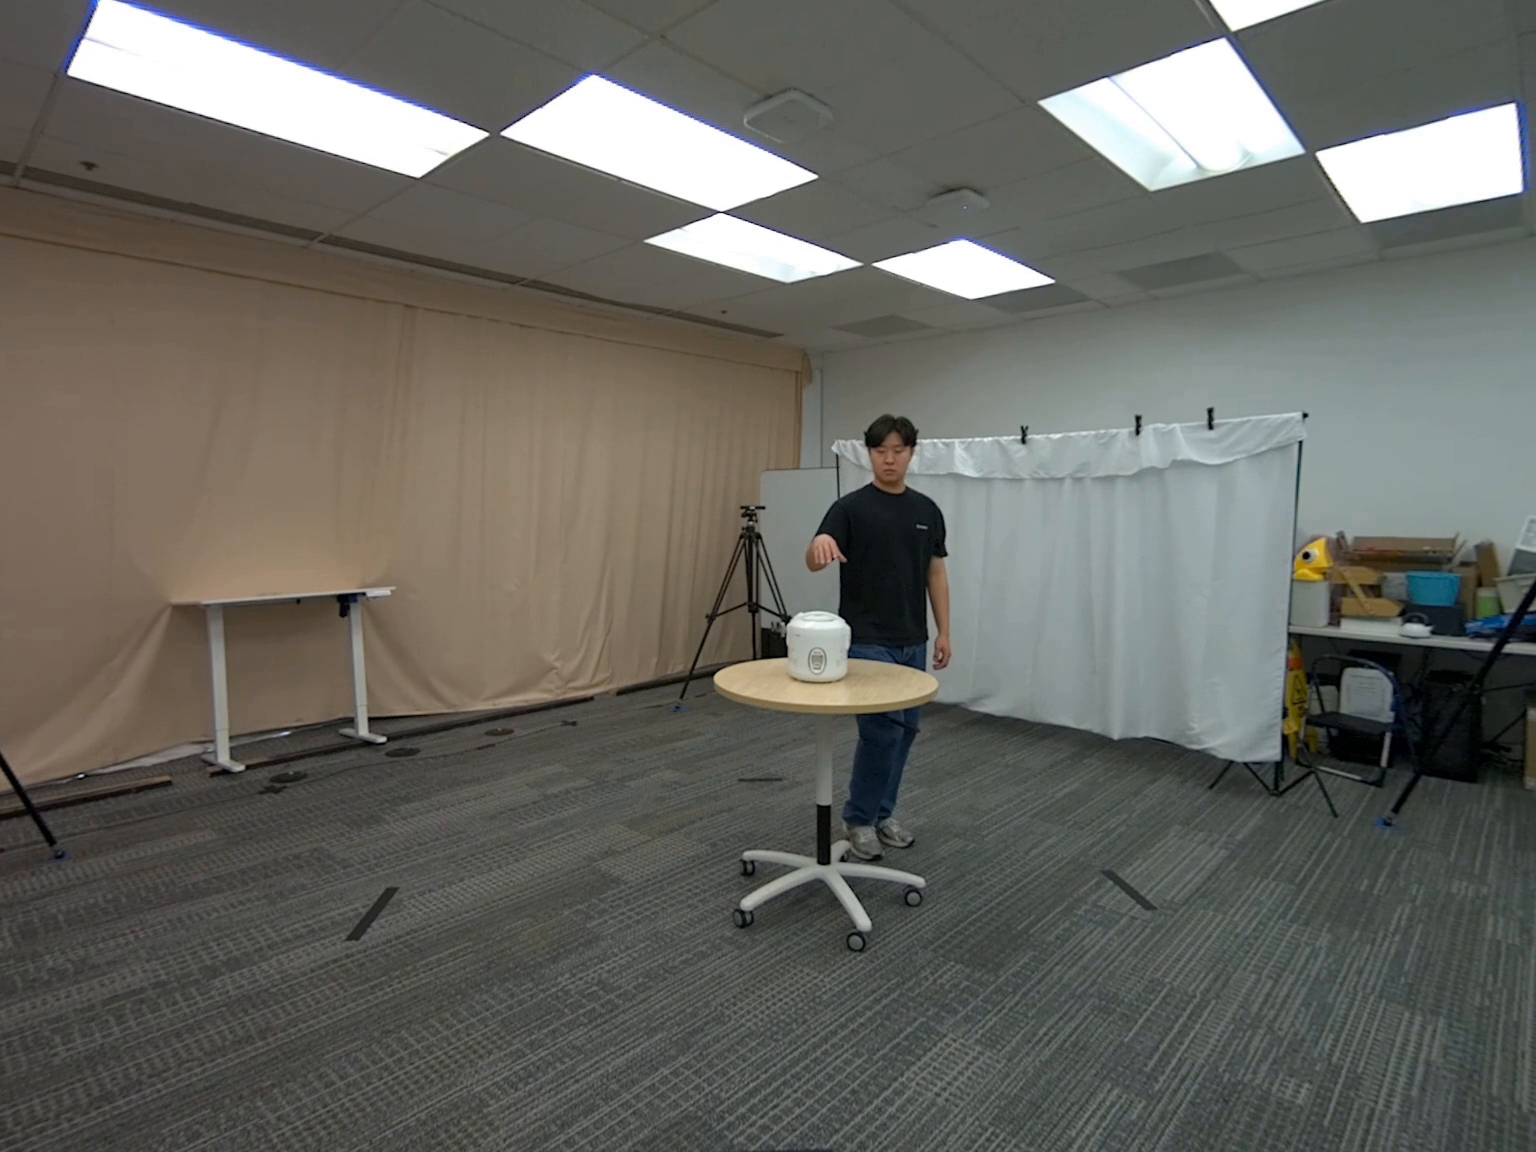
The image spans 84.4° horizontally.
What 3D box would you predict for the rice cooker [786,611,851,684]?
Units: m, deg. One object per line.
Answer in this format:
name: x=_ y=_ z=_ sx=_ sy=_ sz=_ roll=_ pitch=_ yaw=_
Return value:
rice cooker: x=0.178 y=0.236 z=2.909 sx=0.222 sy=0.232 sz=0.216 roll=1 pitch=4 yaw=5
